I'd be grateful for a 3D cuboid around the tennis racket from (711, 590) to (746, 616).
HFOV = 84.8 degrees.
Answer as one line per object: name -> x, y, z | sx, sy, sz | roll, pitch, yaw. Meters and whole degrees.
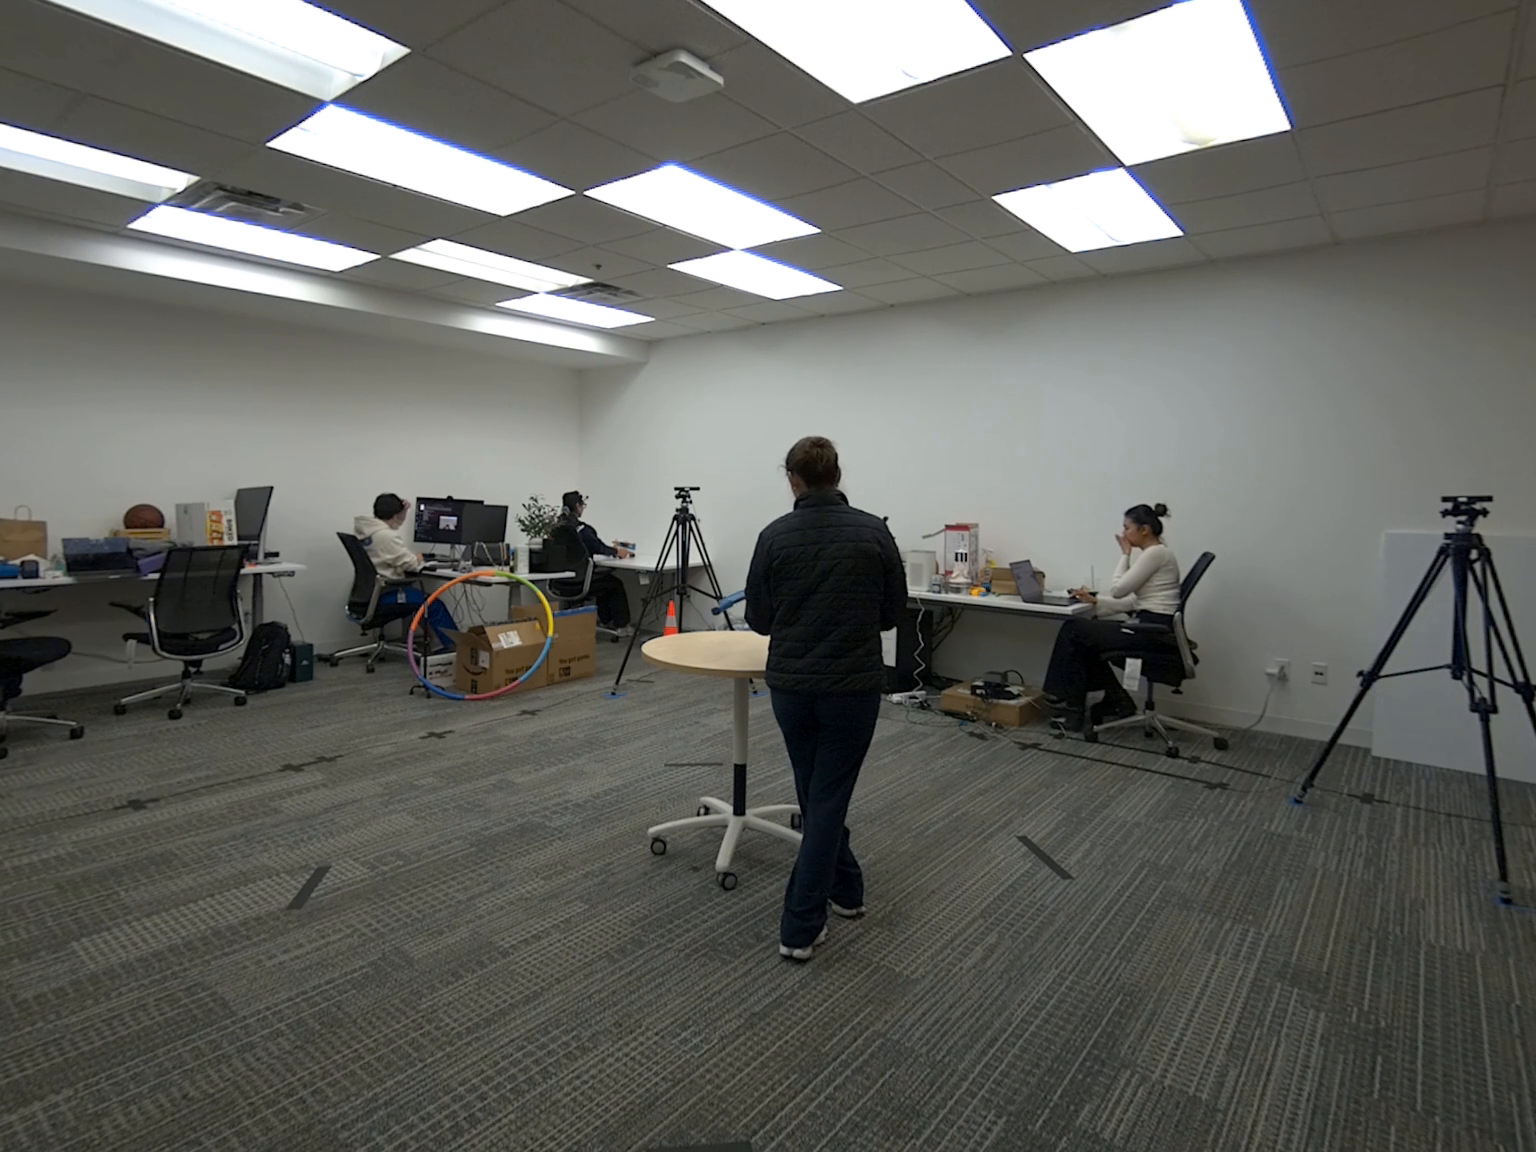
tennis racket -> -0.089, 0.068, 3.125 | 0.216, 0.032, 0.428 | -17, 4, 17
